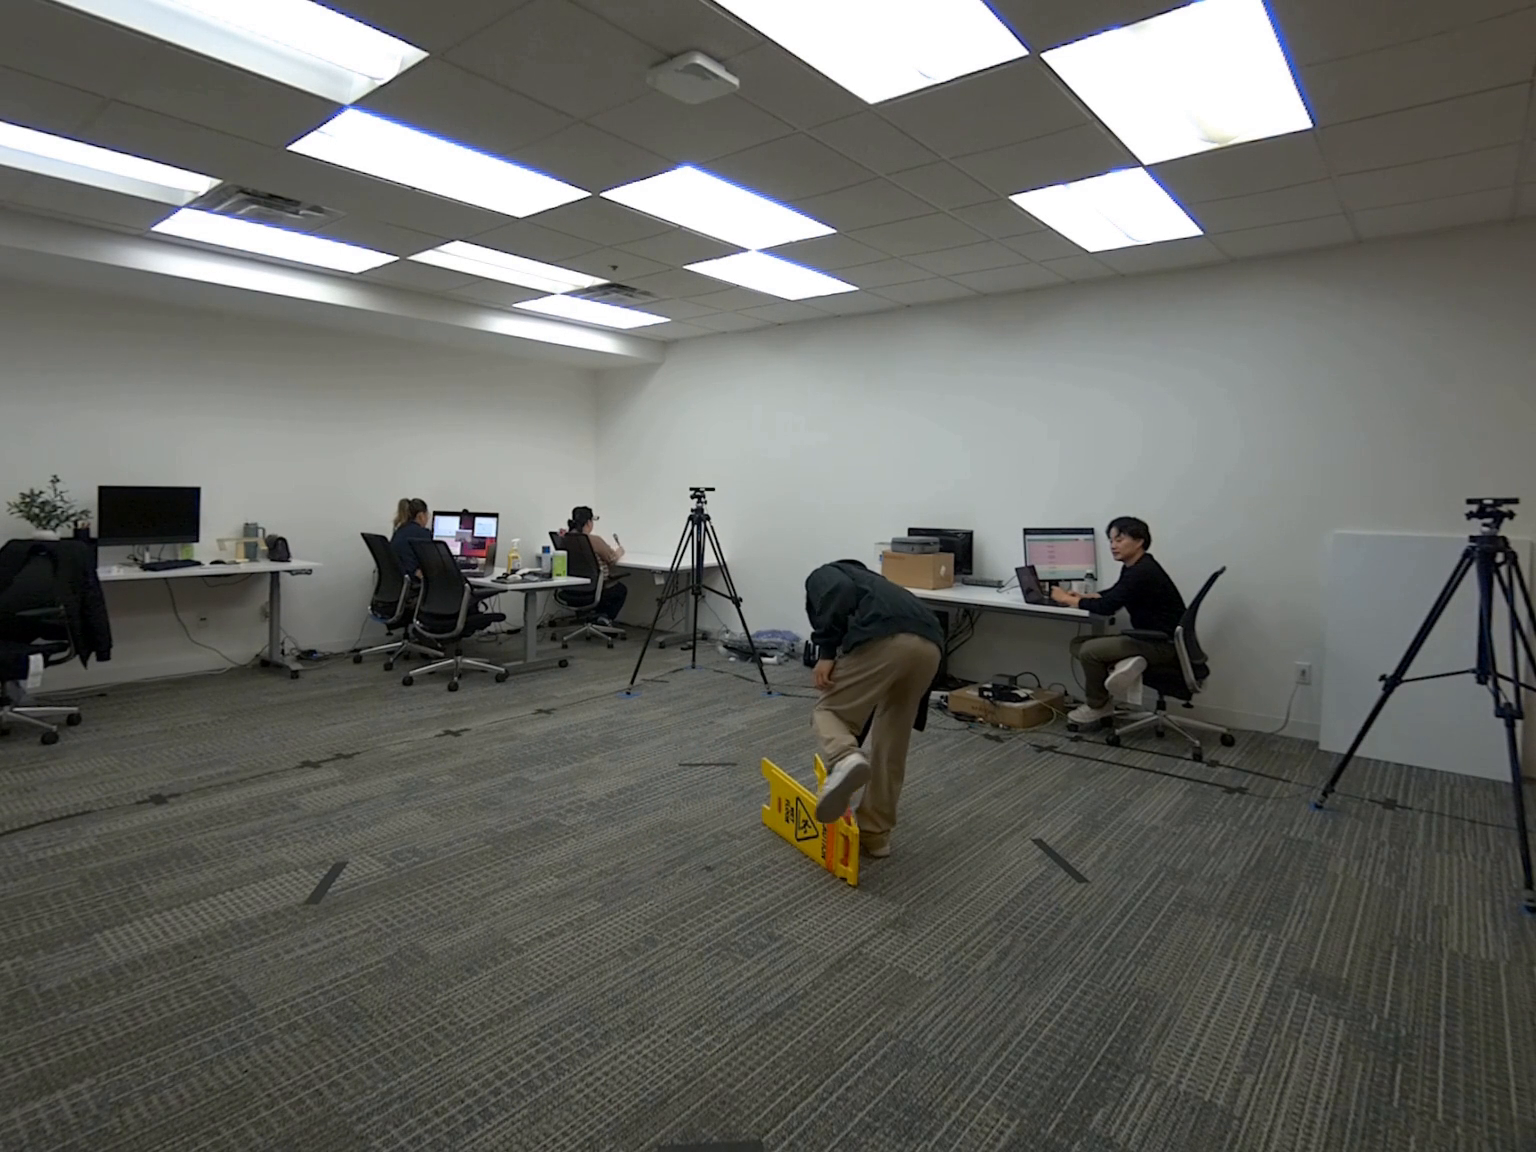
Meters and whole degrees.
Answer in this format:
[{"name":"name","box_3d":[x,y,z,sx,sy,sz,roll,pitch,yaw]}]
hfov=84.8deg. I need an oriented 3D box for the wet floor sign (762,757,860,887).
[{"name":"wet floor sign","box_3d":[0.199,0.933,3.276,0.284,0.280,0.662,-1,9,-19]}]
